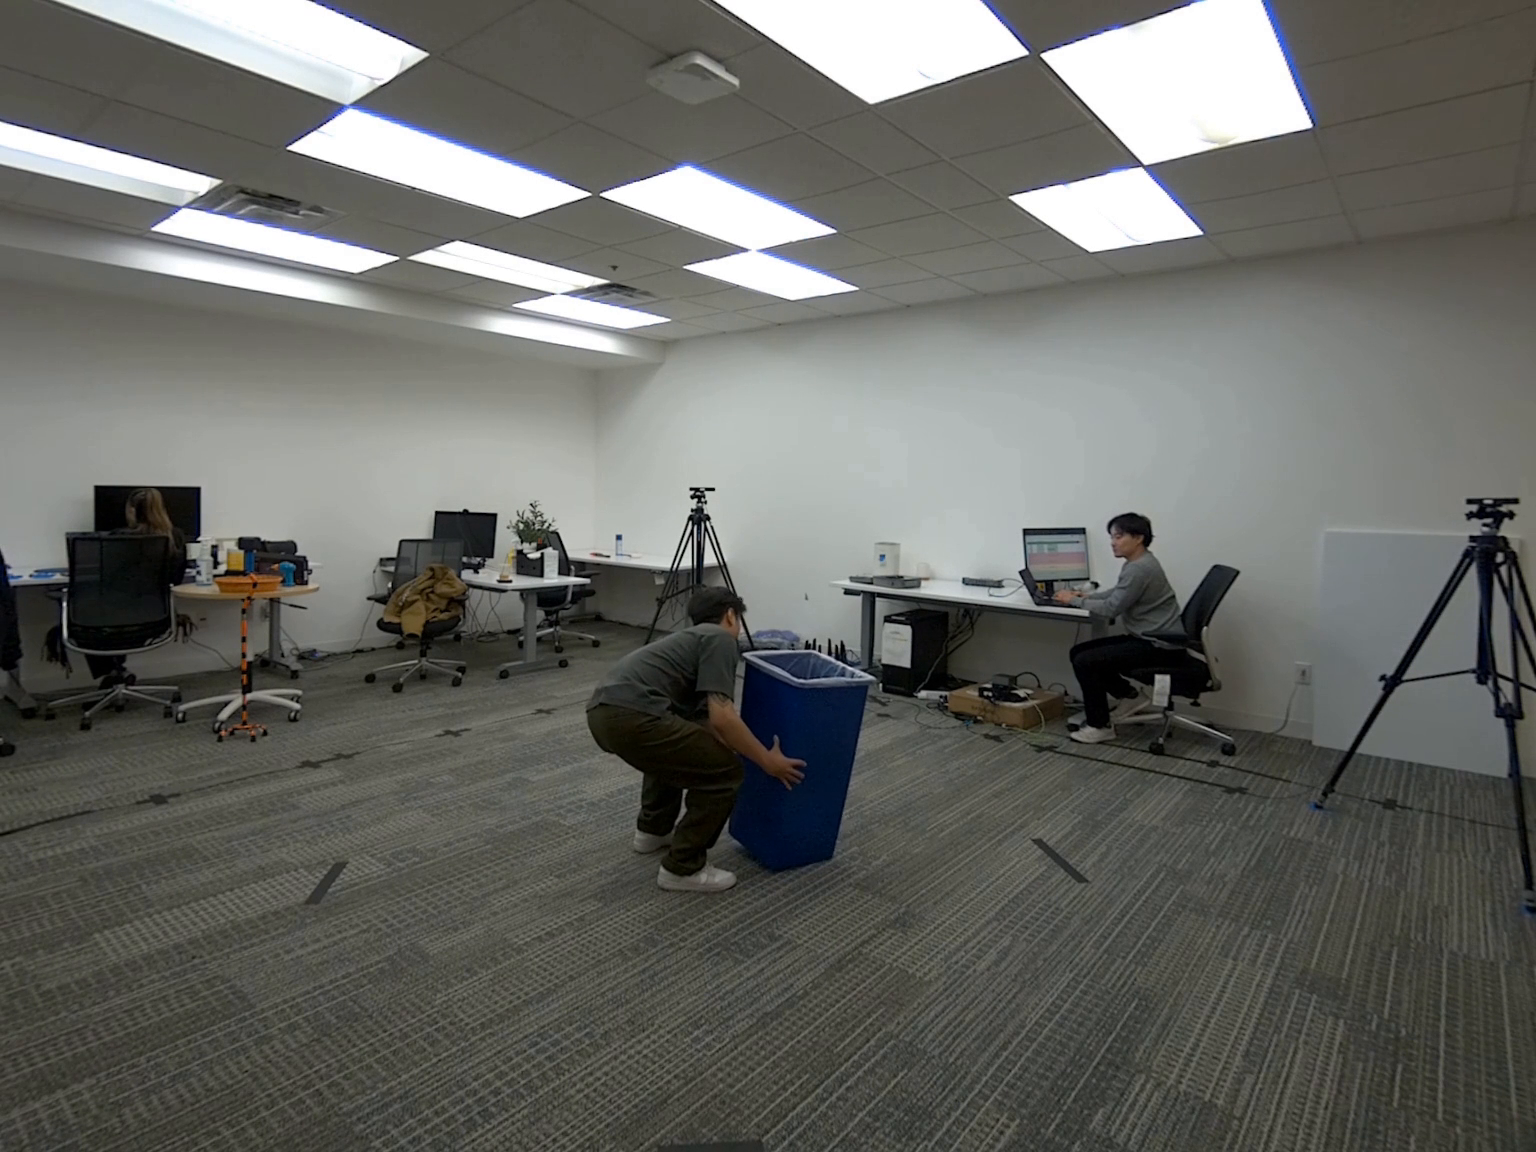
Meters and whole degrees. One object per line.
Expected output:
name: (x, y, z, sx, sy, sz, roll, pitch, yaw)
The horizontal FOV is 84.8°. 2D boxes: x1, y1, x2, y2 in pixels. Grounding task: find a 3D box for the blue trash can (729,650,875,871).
blue trash can: (0.099, 0.679, 3.220, 0.366, 0.709, 0.388, 3, 9, -37)
